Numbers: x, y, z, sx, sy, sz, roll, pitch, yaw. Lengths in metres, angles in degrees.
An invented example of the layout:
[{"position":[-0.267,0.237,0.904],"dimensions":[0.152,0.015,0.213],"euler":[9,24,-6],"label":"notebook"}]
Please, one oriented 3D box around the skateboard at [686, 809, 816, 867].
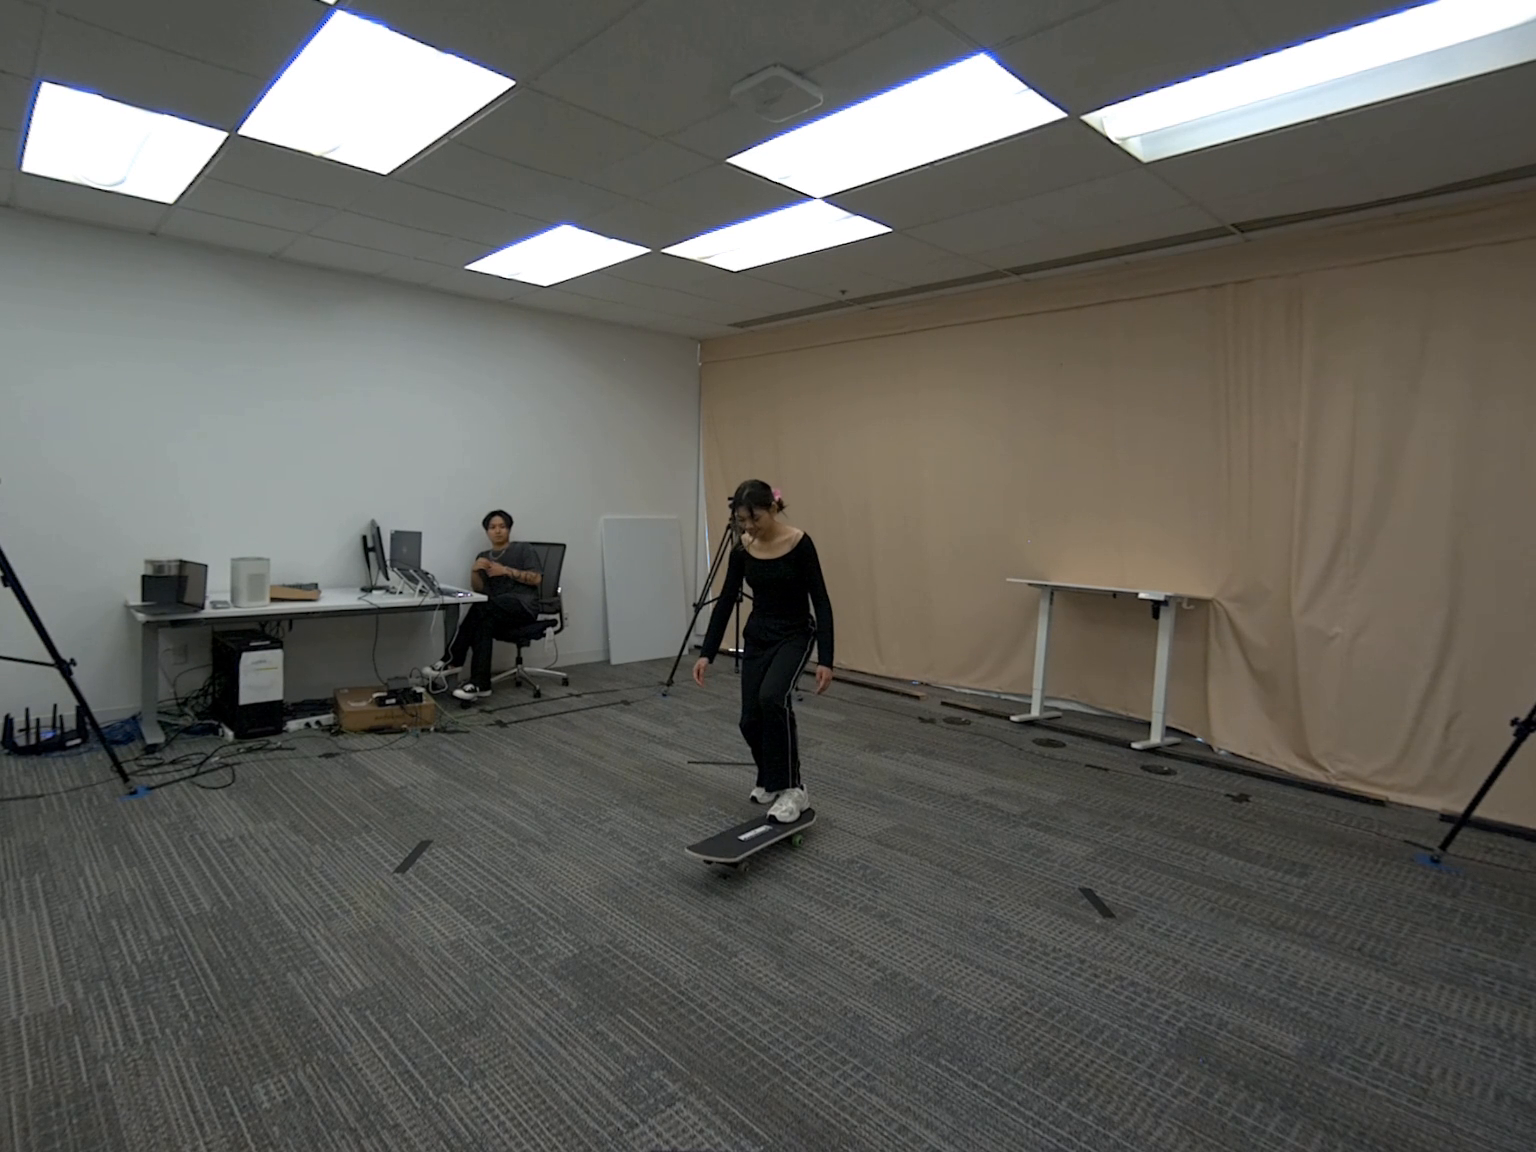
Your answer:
[{"position":[-0.057,1.028,3.259],"dimensions":[0.198,0.110,0.767],"euler":[4,1,31],"label":"skateboard"}]
